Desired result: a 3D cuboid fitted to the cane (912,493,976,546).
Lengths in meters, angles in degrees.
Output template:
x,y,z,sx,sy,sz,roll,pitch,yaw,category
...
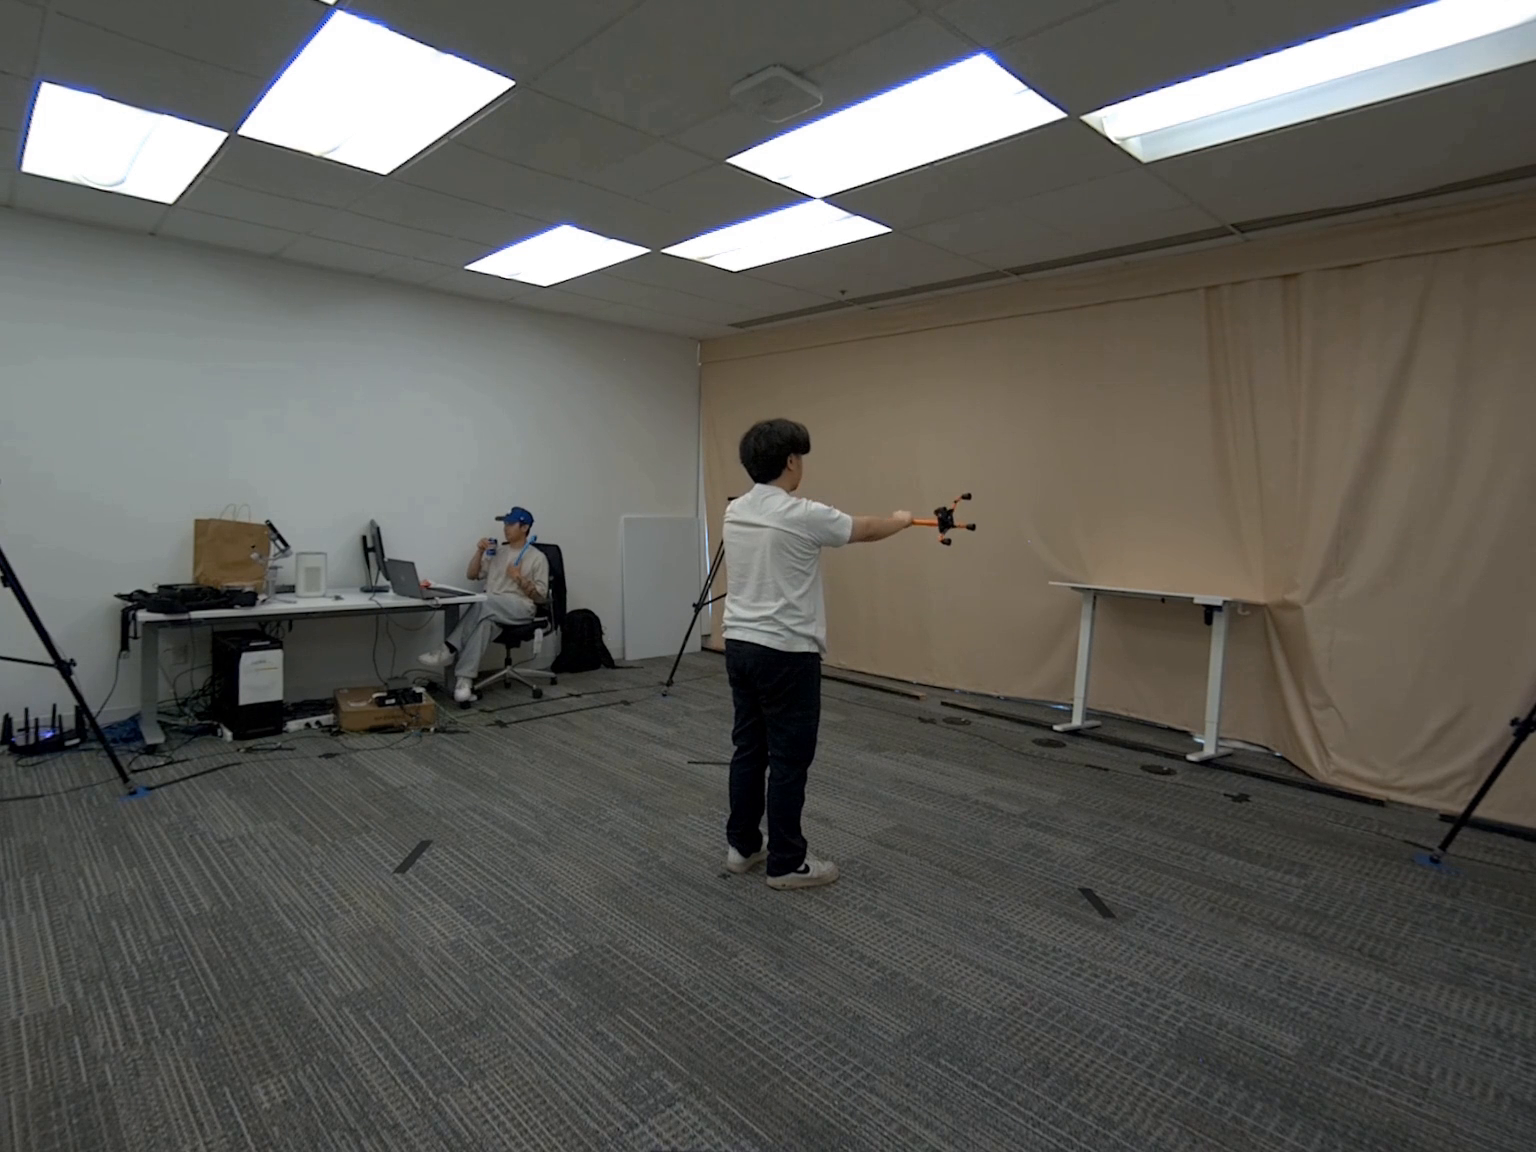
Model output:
x,y,z,sx,sy,sz,roll,pitch,yaw,category
0.387,-0.248,3.494,0.931,0.149,0.204,6,23,45,cane
